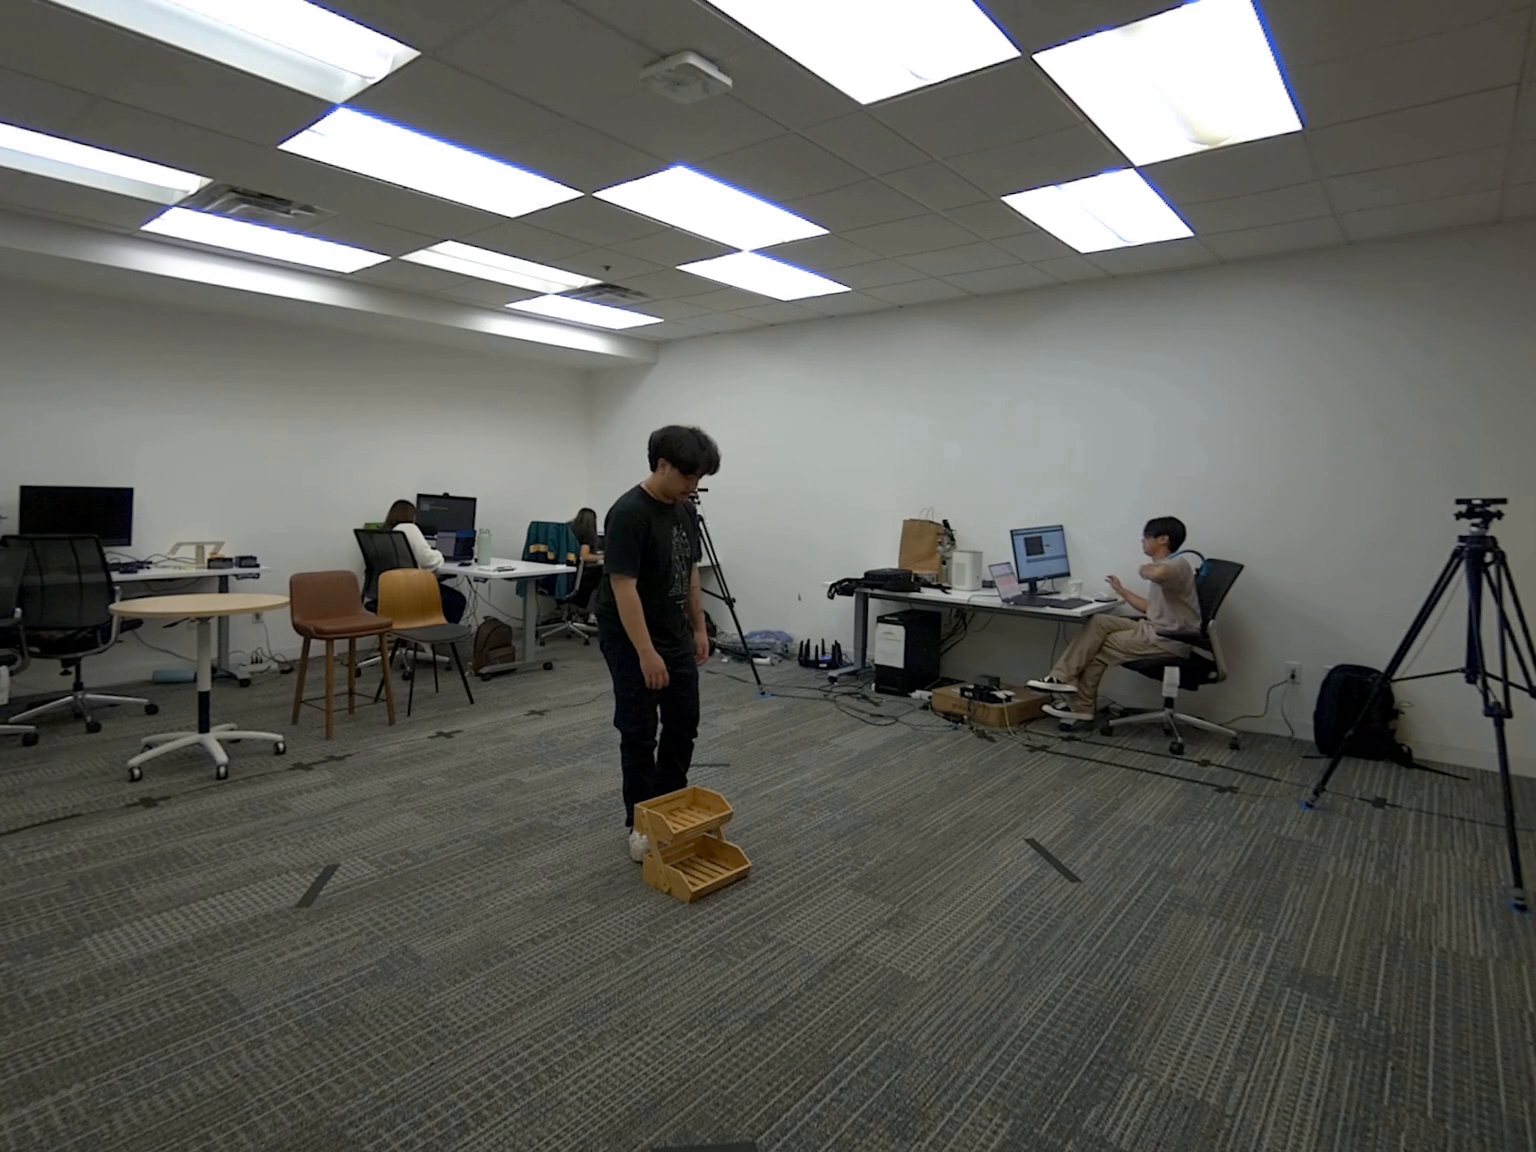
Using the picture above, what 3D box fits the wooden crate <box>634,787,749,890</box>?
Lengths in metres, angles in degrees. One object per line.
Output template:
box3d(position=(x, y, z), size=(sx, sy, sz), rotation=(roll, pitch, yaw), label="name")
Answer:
box3d(position=(-0.275, 0.940, 3.038), size=(0.312, 0.273, 0.314), rotation=(4, 4, 42), label="wooden crate")
